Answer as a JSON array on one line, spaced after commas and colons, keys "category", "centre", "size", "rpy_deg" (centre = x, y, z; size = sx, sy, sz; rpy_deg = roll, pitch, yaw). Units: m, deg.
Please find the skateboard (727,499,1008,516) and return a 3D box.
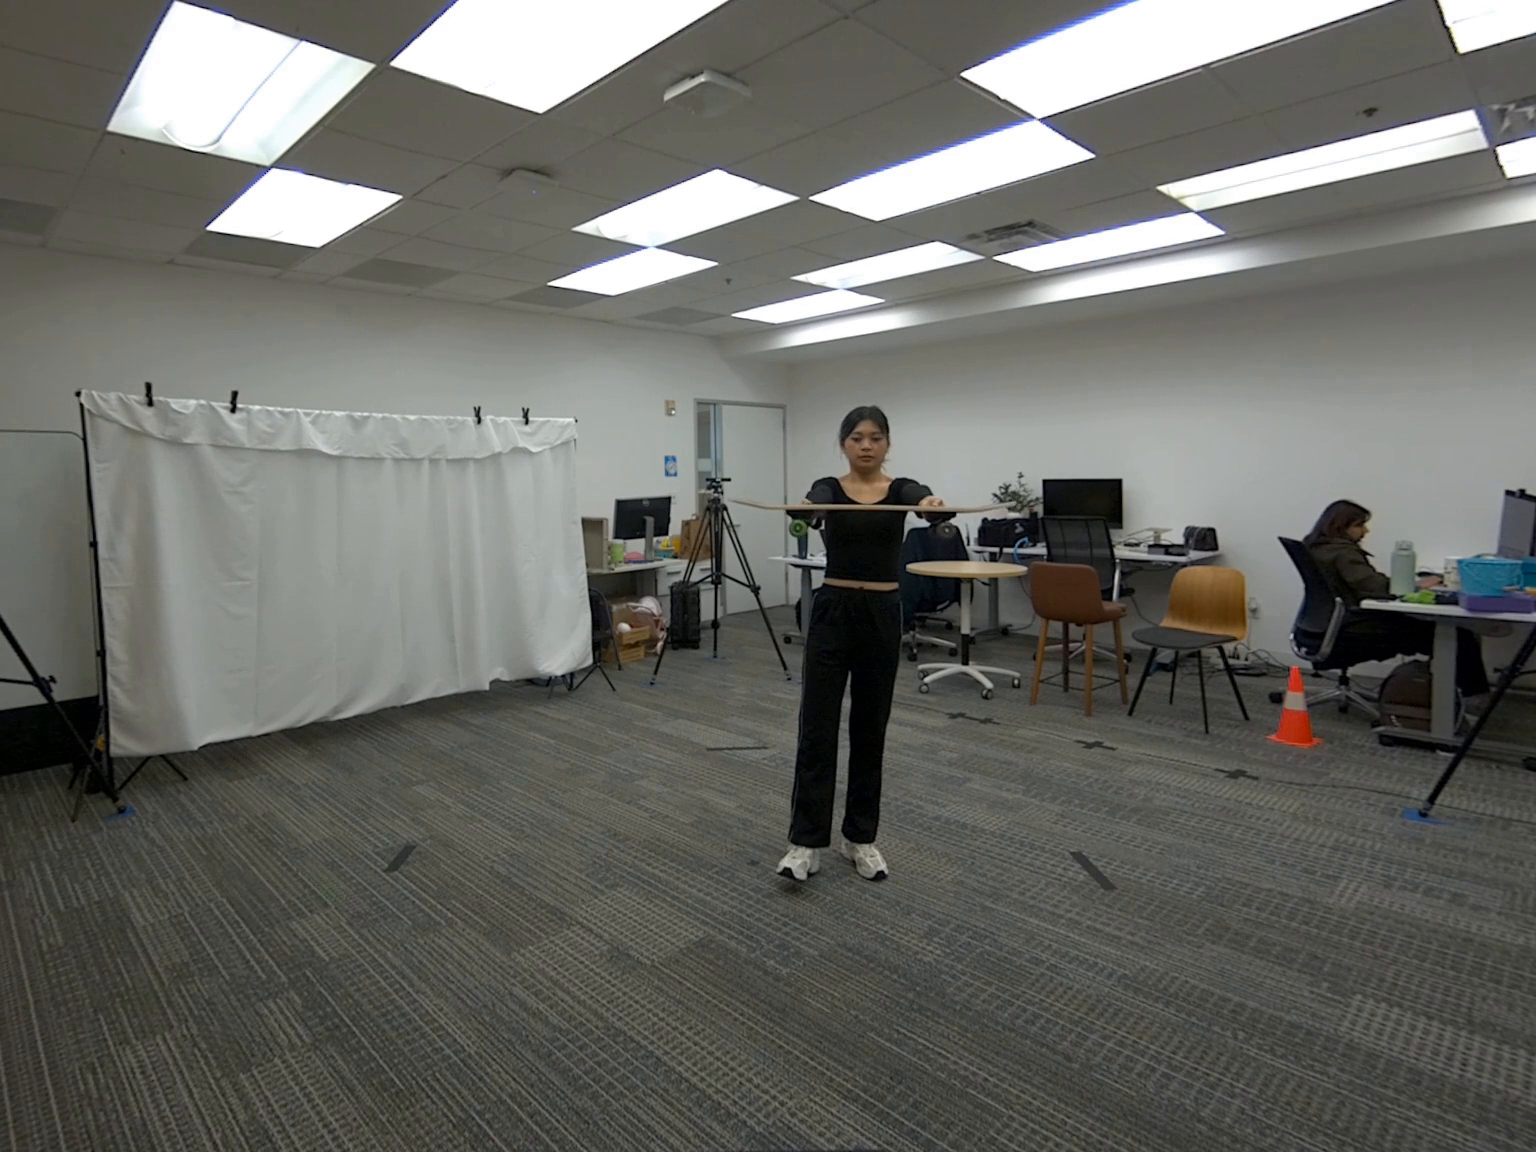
[{"category": "skateboard", "centre": [0.296, -0.160, 2.405], "size": [0.787, 0.110, 0.194], "rpy_deg": [1, 6, 2]}]
